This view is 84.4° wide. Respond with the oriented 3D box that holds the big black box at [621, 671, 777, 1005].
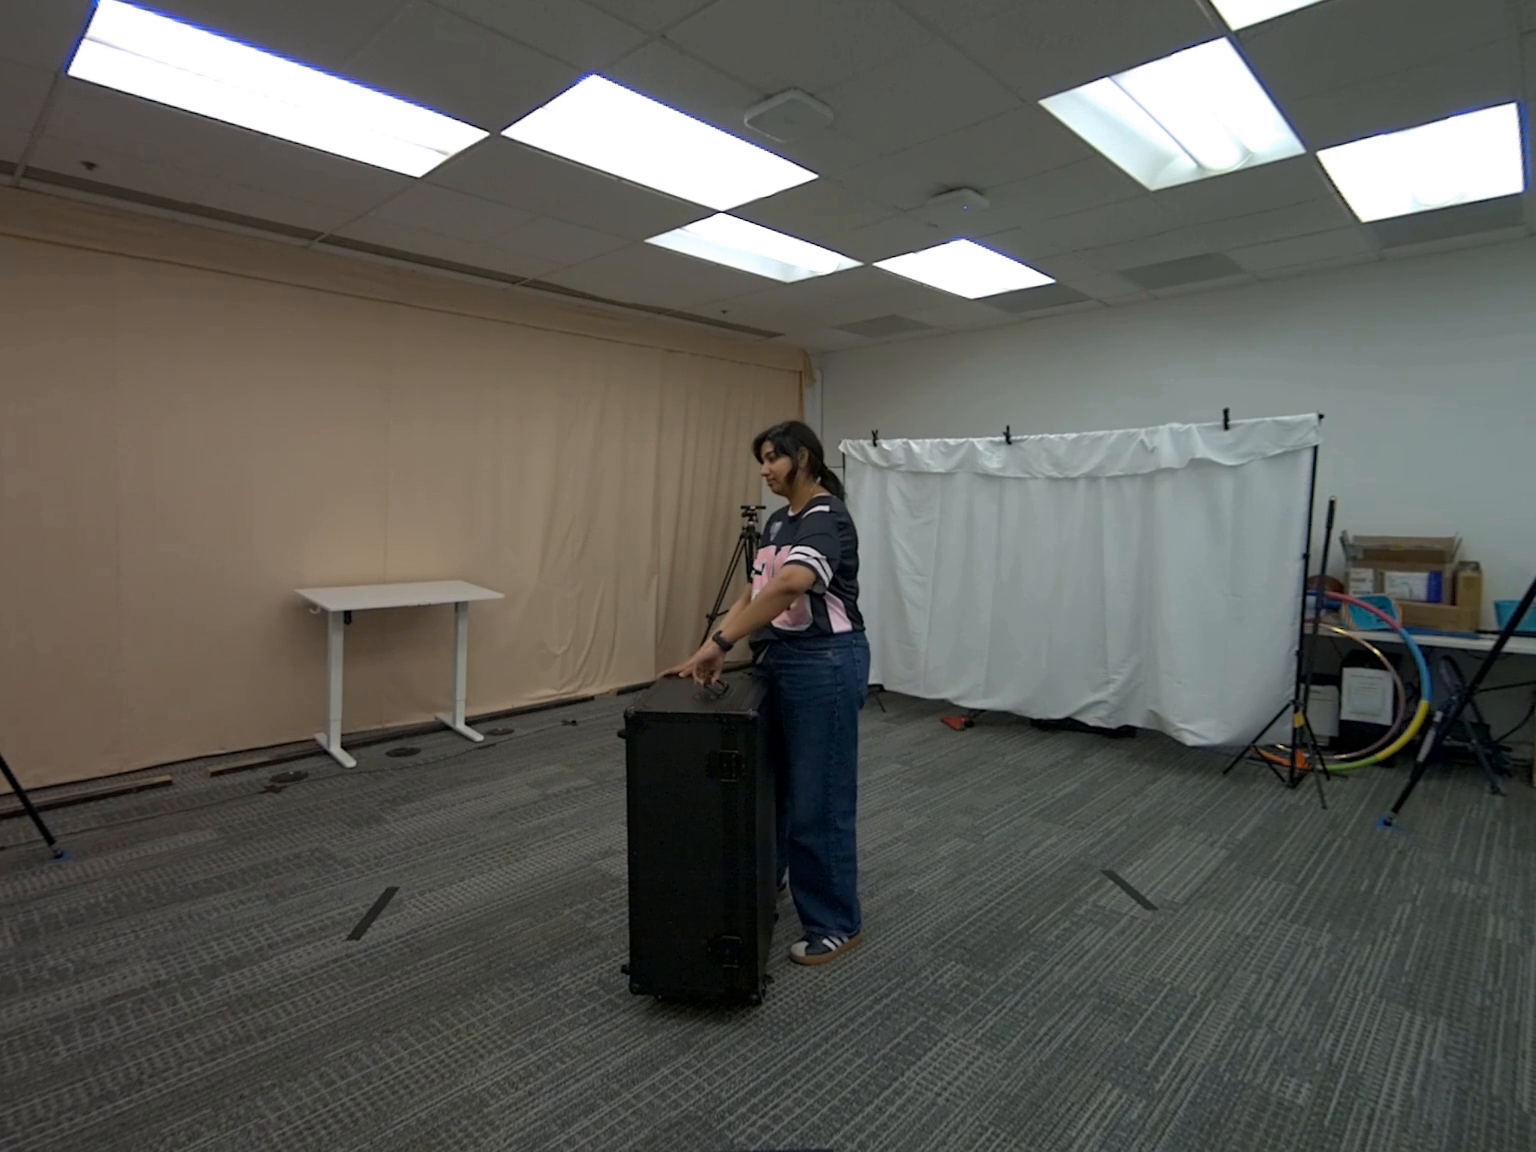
[{"bbox_3d":[-0.190,0.770,2.456,0.387,0.867,0.521,-1,3,4],"label":"big black box"}]
